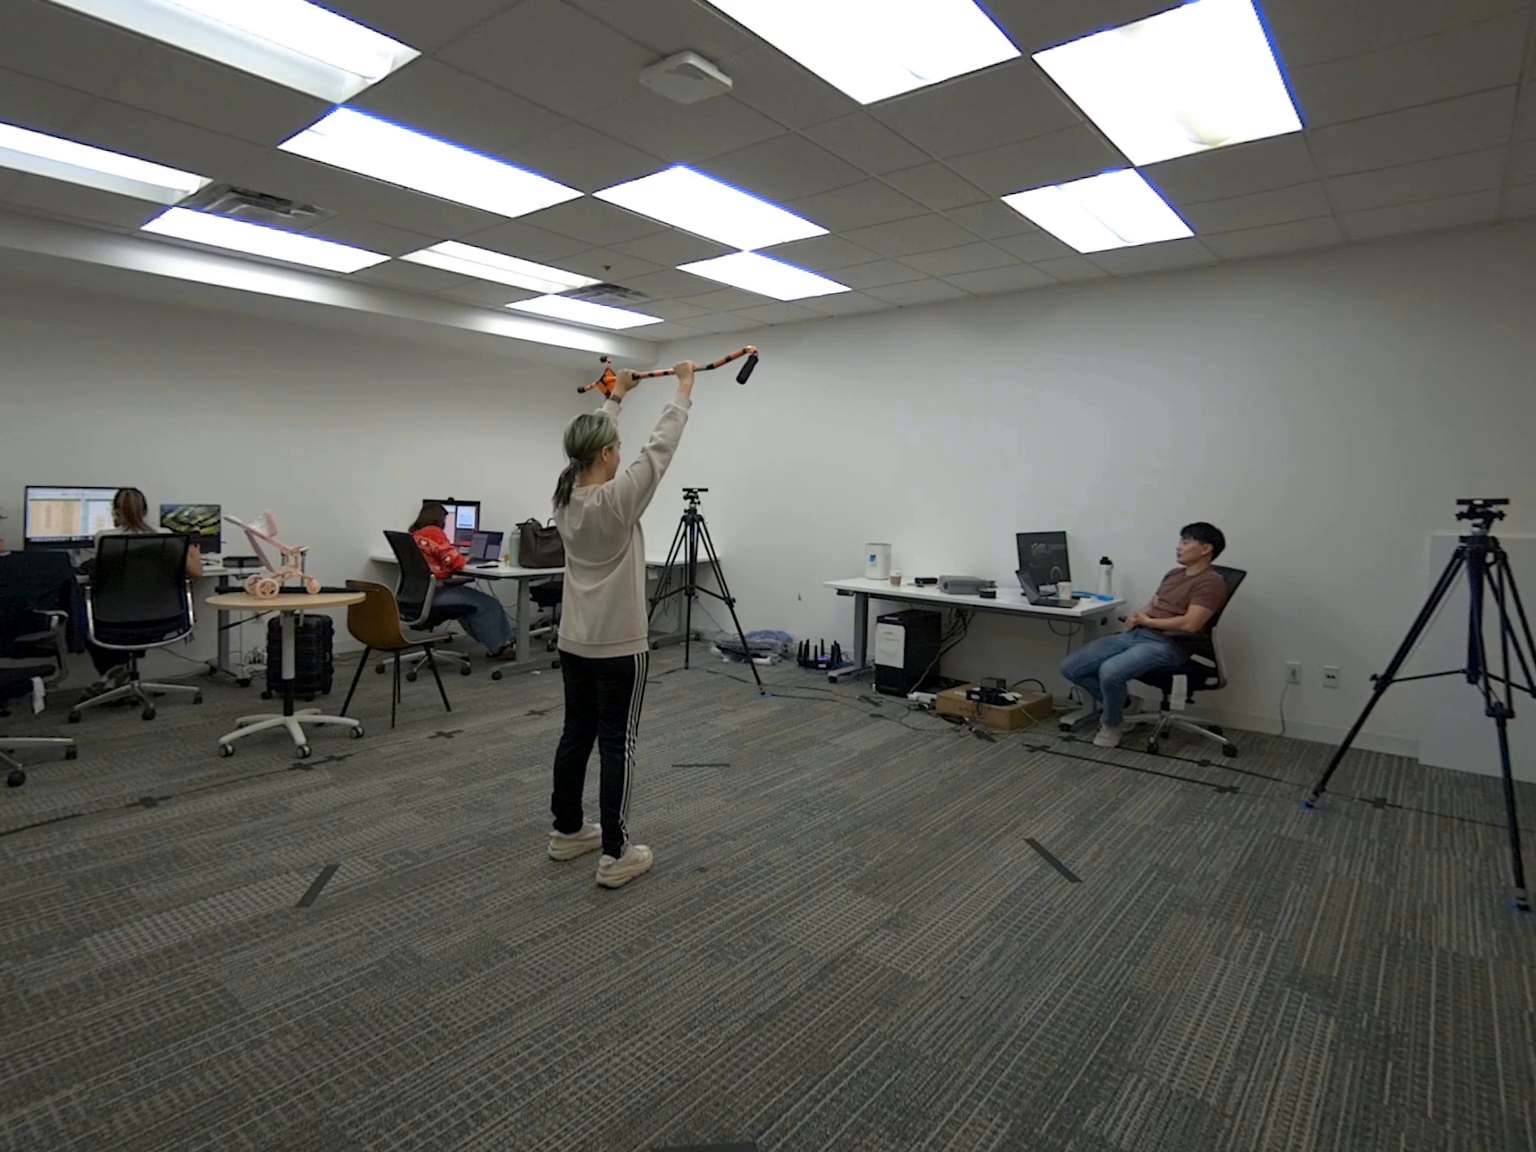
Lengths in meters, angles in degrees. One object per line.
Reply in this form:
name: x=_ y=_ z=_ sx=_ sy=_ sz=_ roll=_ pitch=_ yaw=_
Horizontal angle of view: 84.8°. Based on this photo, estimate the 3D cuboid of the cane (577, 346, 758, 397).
cane: x=-0.373 y=-0.765 z=3.214 sx=0.939 sy=0.208 sz=0.145 roll=7 pitch=-29 yaw=45
